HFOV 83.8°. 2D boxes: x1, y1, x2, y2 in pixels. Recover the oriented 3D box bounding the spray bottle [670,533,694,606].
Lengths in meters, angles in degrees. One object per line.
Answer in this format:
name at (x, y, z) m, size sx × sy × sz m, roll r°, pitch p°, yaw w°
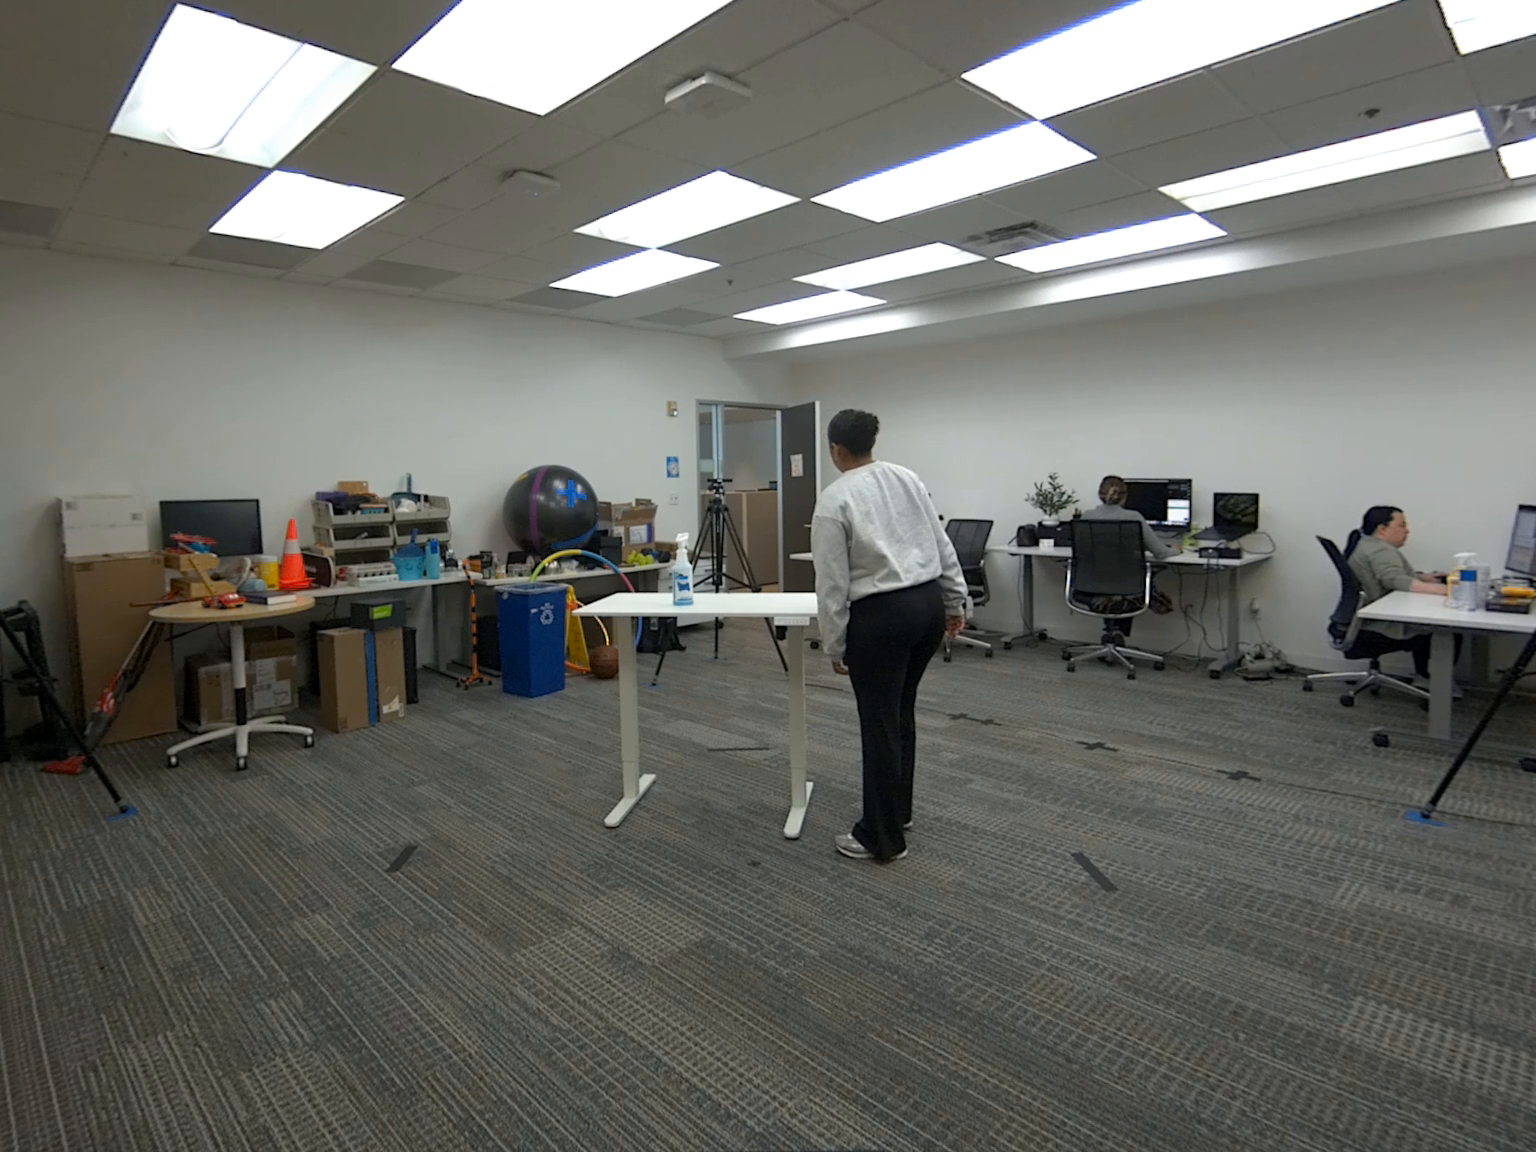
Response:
spray bottle at (-0.354, -0.030, 3.569) m, size 0.088 × 0.296 × 0.089 m, roll -3°, pitch 3°, yaw -38°
